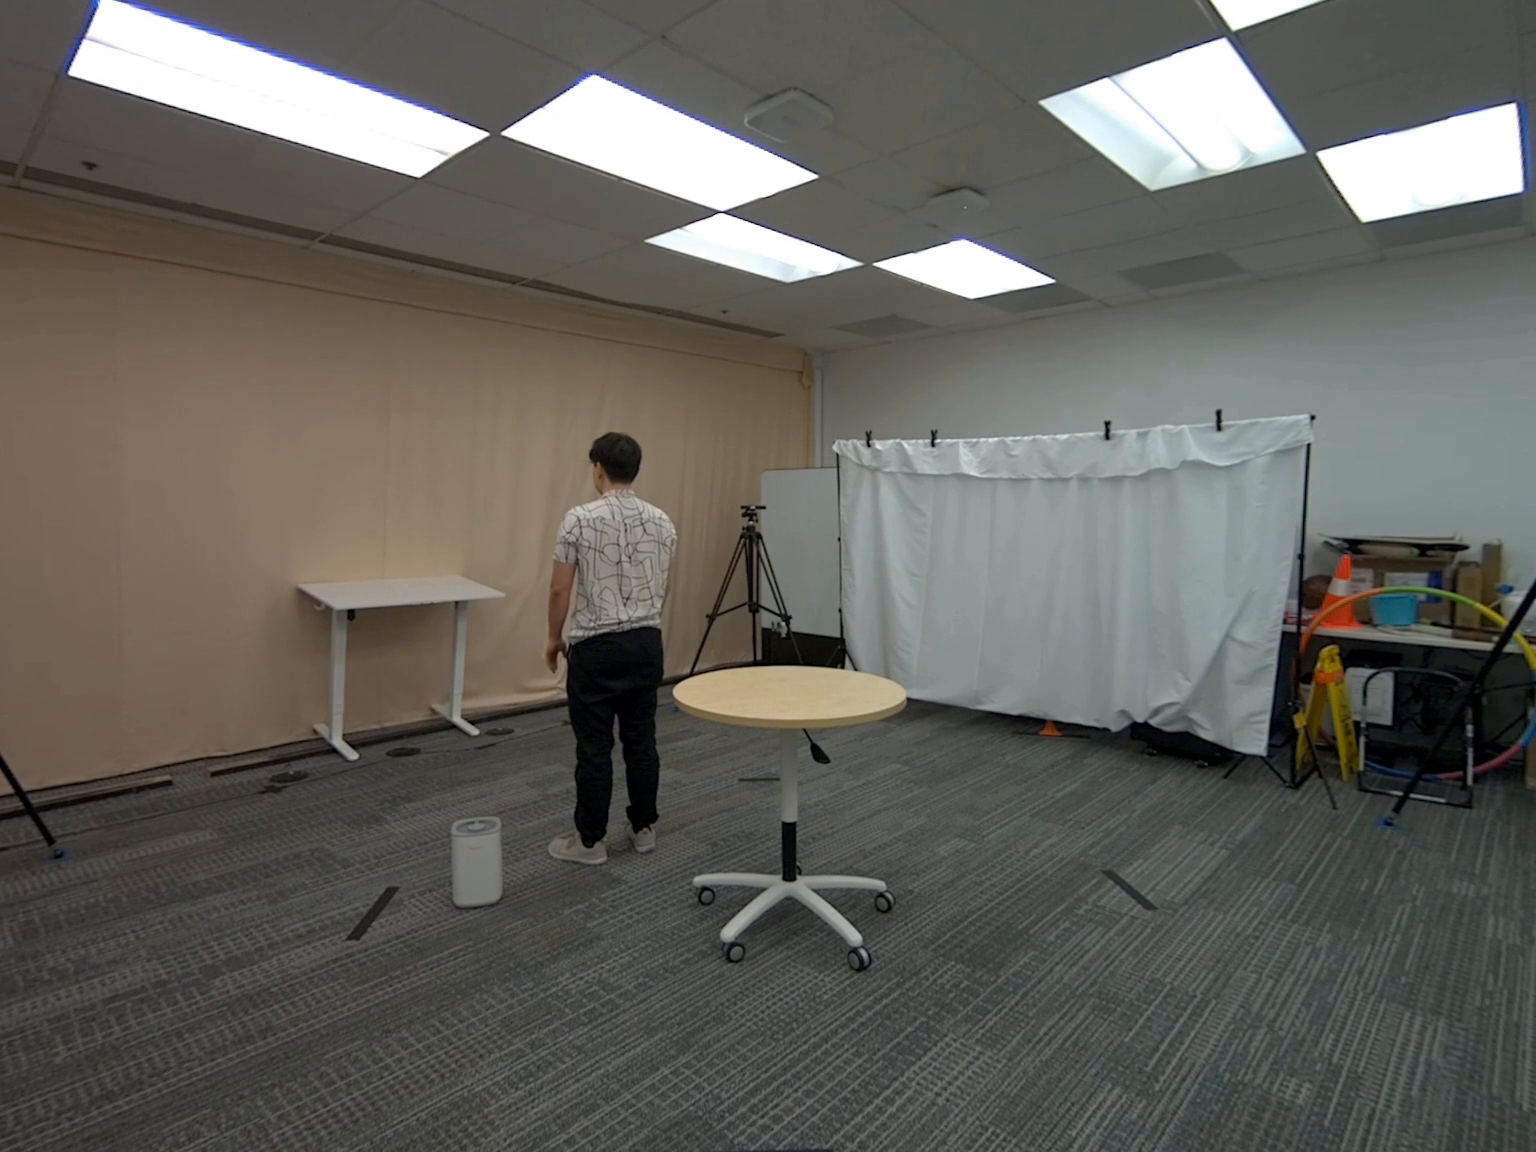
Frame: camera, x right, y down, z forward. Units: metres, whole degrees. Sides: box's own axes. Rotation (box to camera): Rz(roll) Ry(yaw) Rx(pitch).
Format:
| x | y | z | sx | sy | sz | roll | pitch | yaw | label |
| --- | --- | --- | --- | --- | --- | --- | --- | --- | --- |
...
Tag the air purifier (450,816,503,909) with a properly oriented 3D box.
| x | y | z | sx | sy | sz | roll | pitch | yaw | label |
| --- | --- | --- | --- | --- | --- | --- | --- | --- | --- |
| -1.037 | 1.023 | 2.992 | 0.168 | 0.265 | 0.175 | -1 | 3 | -21 | air purifier |
